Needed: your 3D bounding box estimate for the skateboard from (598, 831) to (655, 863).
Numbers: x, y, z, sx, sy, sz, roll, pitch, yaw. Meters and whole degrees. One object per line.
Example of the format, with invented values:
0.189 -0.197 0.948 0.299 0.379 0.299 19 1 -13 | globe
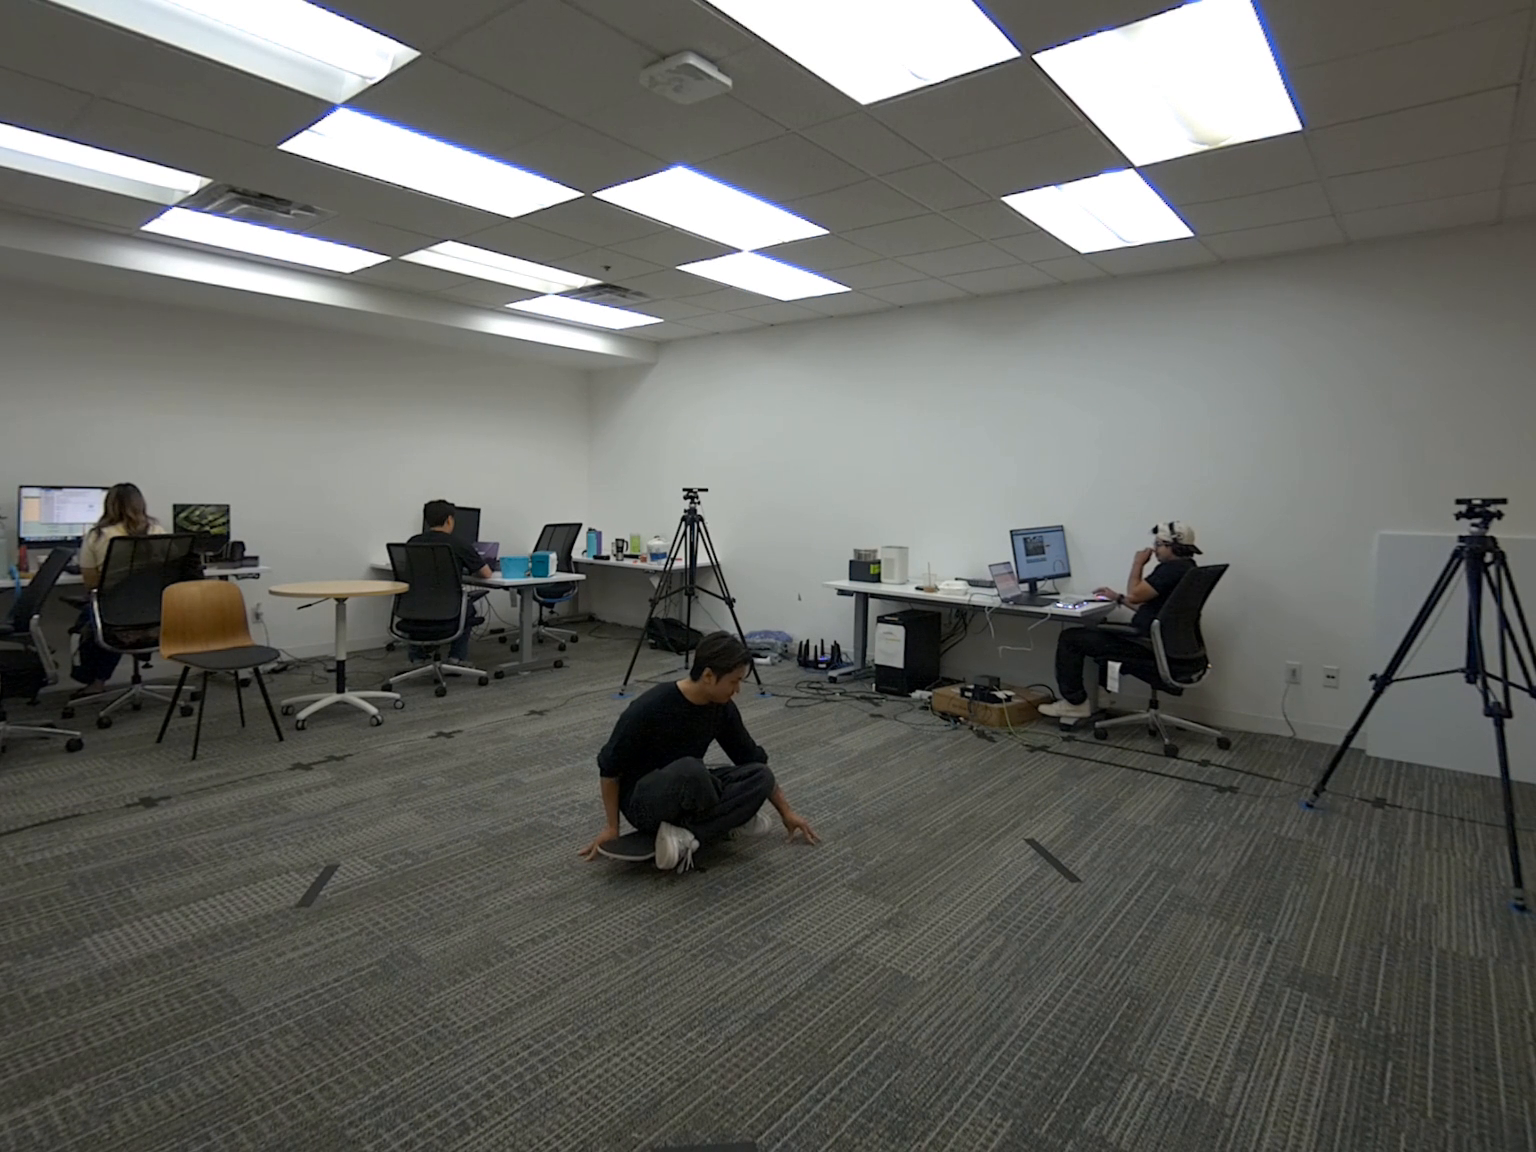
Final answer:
-0.337 1.011 3.298 0.200 0.110 0.762 5 8 41 | skateboard
